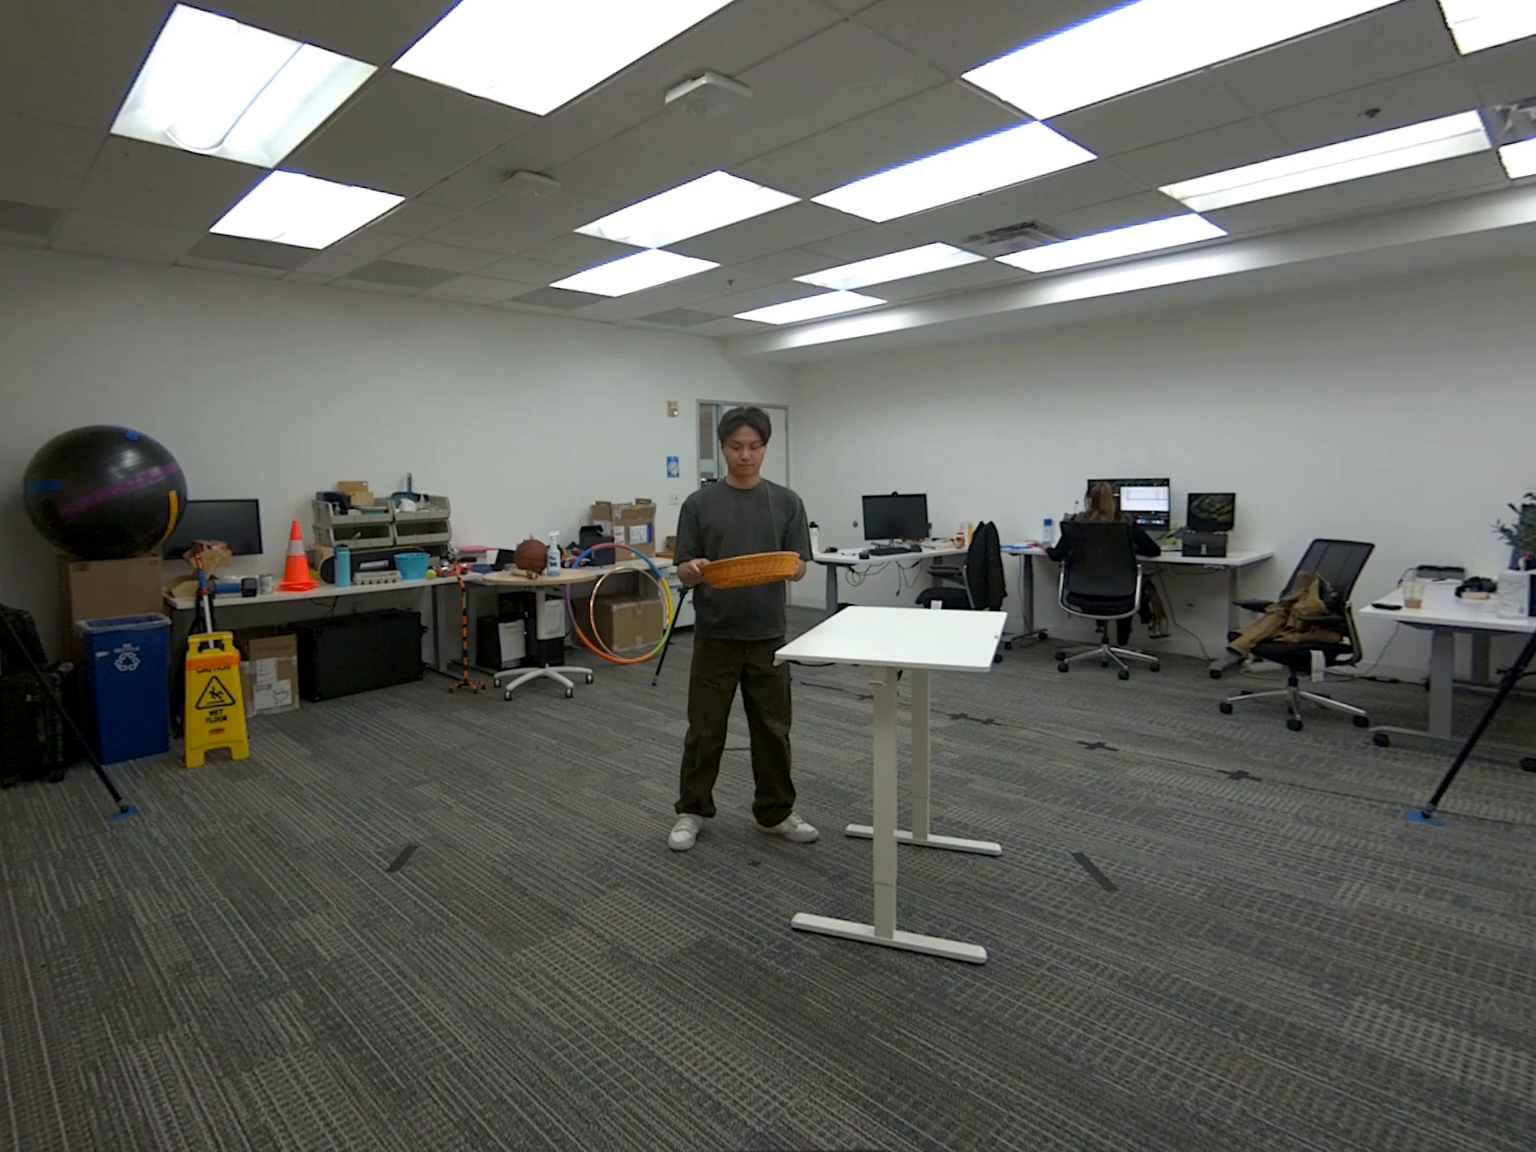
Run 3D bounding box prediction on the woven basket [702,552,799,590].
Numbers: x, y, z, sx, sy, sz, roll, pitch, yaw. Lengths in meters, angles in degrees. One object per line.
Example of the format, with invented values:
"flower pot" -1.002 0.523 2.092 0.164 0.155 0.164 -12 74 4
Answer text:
"woven basket" -0.085 -0.013 2.916 0.350 0.074 0.251 -7 -5 -1
